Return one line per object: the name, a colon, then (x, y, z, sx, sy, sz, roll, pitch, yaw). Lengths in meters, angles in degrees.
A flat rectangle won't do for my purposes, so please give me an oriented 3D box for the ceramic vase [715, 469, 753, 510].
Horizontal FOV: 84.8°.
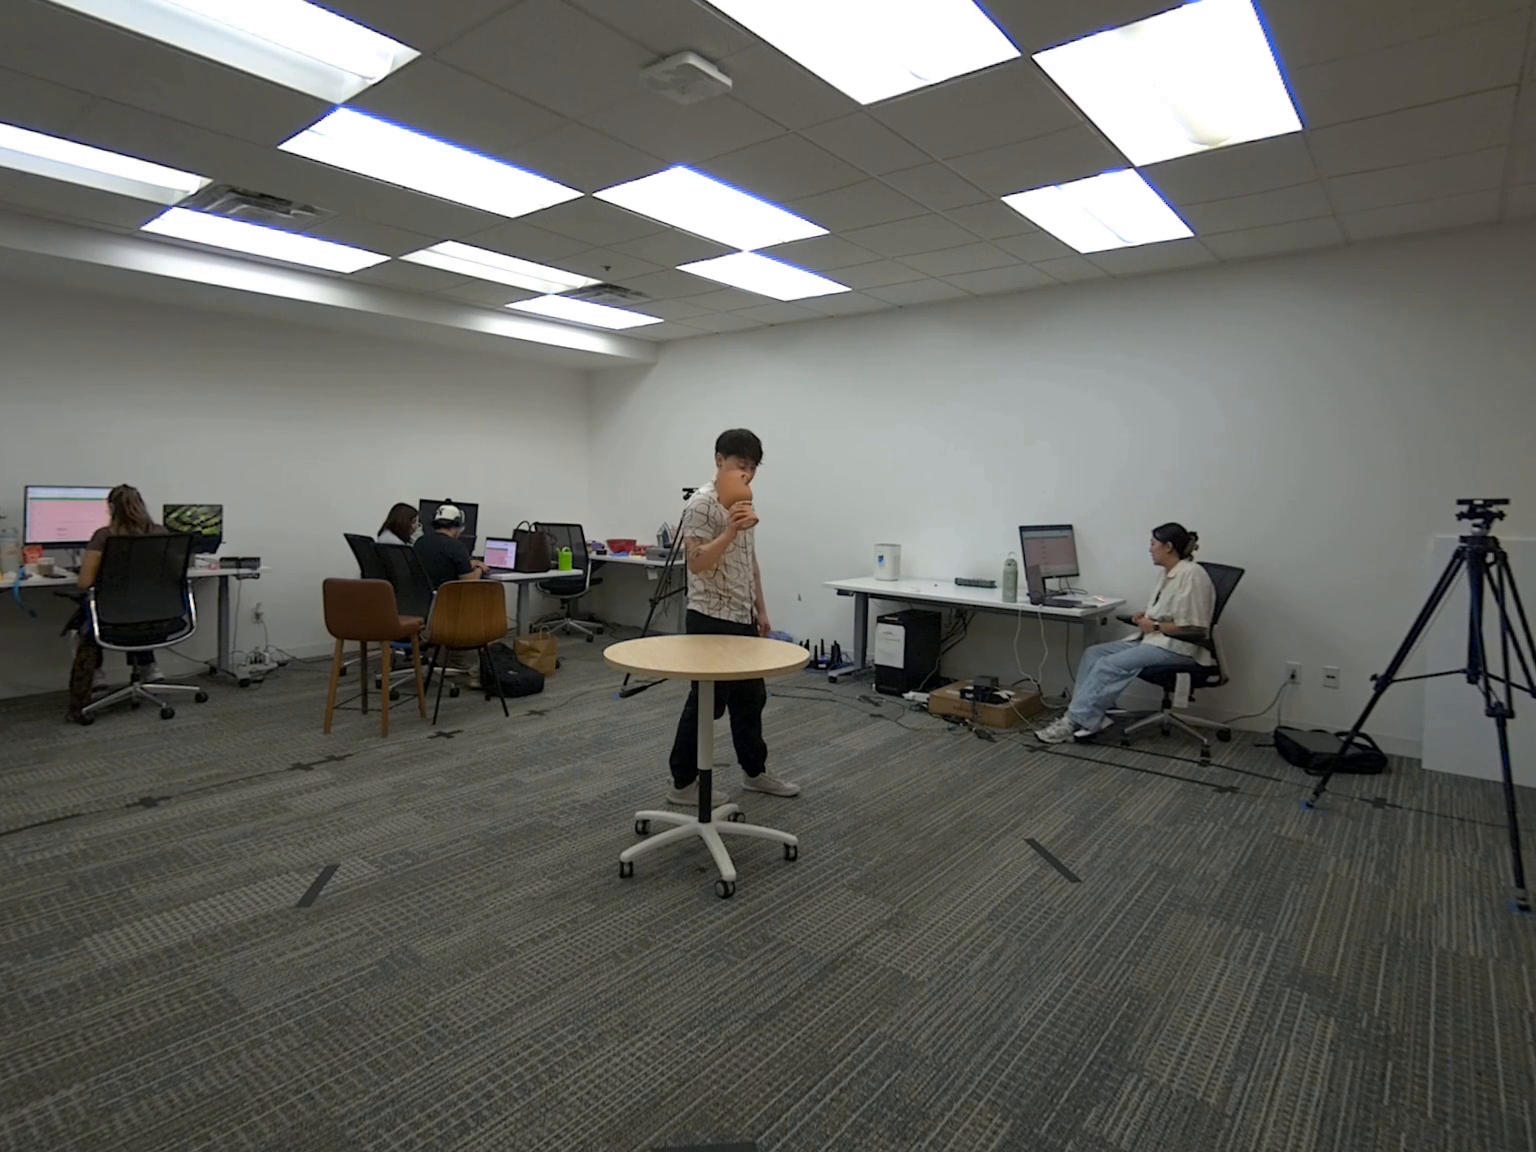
ceramic vase: (-0.131, -0.311, 3.450, 0.133, 0.226, 0.156, -16, -22, -12)
